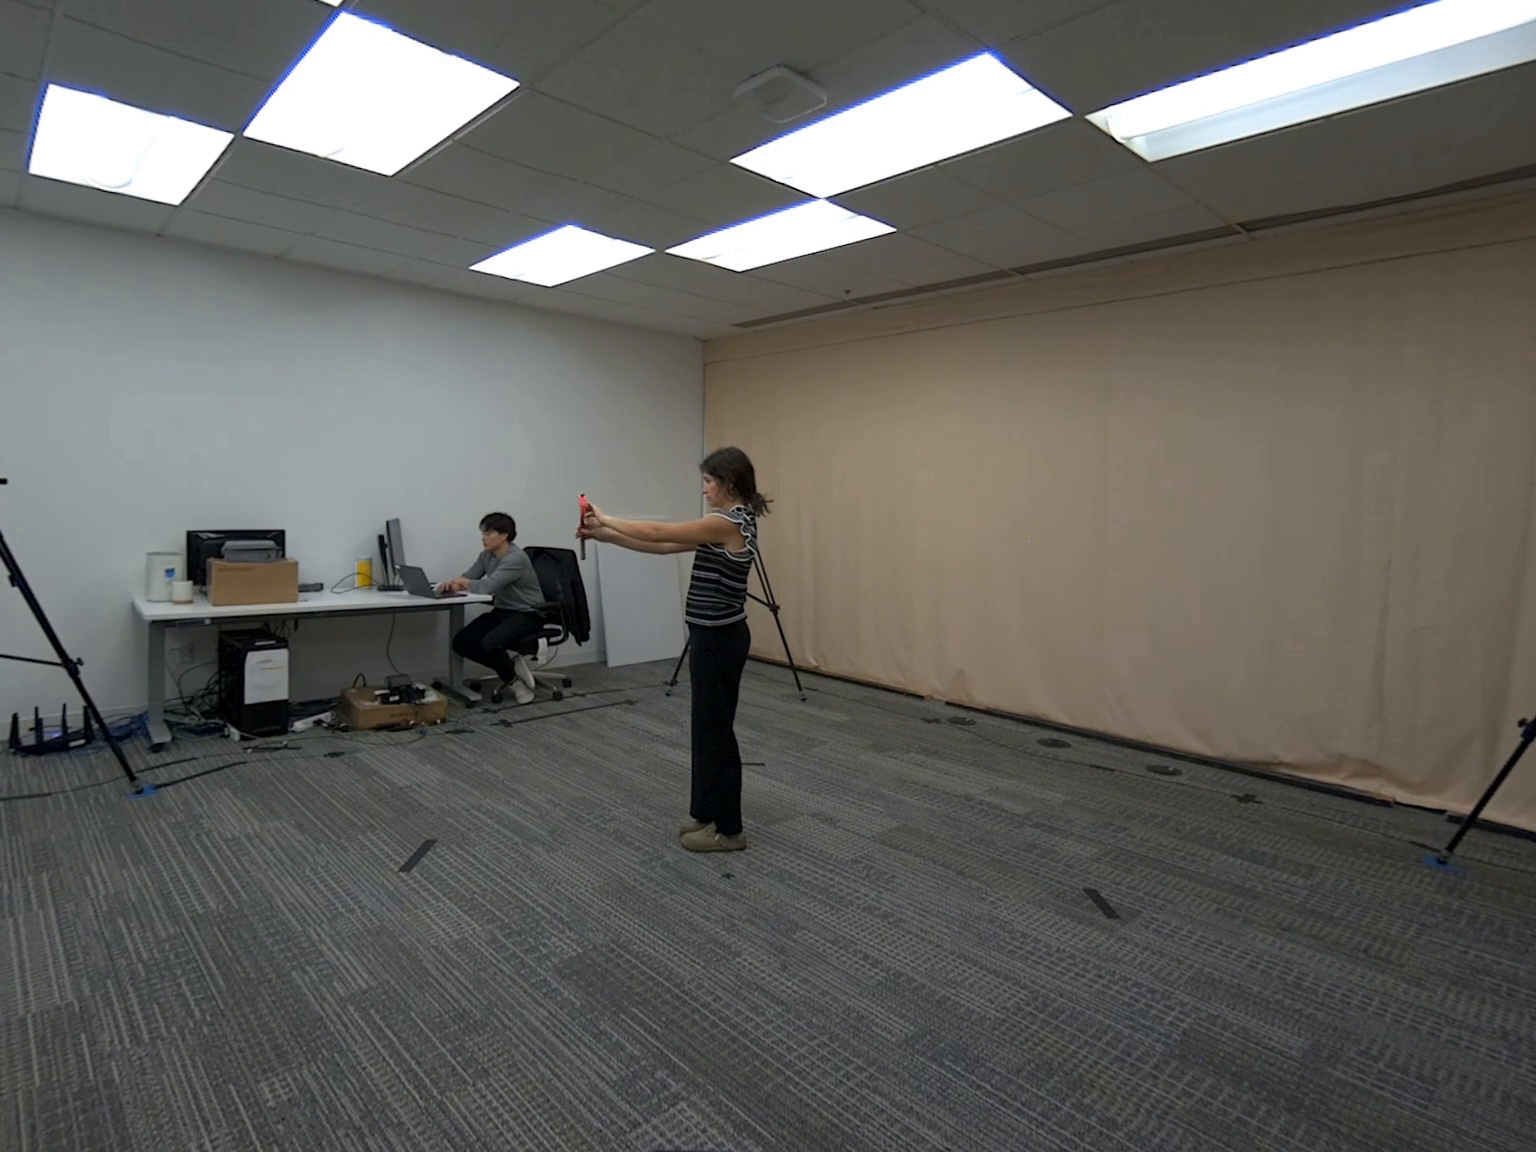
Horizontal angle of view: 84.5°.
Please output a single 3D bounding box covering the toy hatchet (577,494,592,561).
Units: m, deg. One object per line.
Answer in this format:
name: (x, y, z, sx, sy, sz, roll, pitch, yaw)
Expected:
toy hatchet: (-0.752, -0.196, 3.363, 0.029, 0.269, 0.133, -3, 7, -20)
